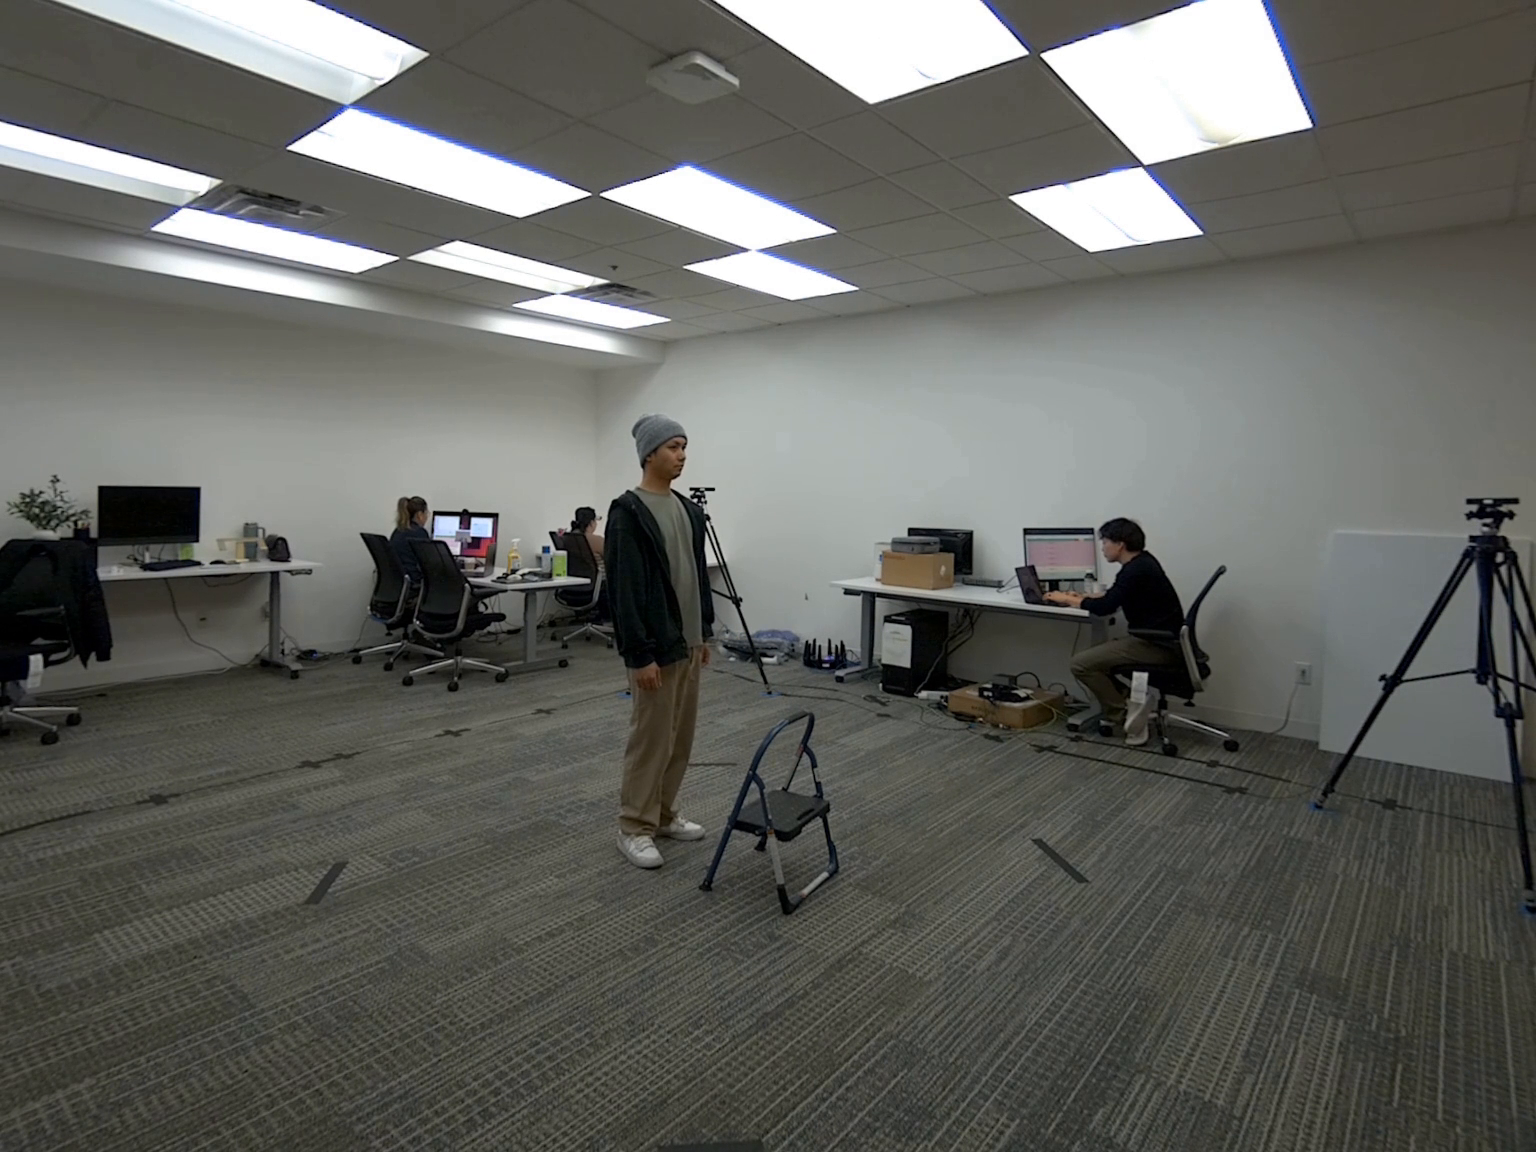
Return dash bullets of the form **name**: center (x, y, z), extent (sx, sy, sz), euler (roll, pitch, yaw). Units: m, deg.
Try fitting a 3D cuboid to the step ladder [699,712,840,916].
- **step ladder**: center (0.013, 0.777, 3.016), extent (0.359, 0.604, 0.420), euler (3, 4, 29)
